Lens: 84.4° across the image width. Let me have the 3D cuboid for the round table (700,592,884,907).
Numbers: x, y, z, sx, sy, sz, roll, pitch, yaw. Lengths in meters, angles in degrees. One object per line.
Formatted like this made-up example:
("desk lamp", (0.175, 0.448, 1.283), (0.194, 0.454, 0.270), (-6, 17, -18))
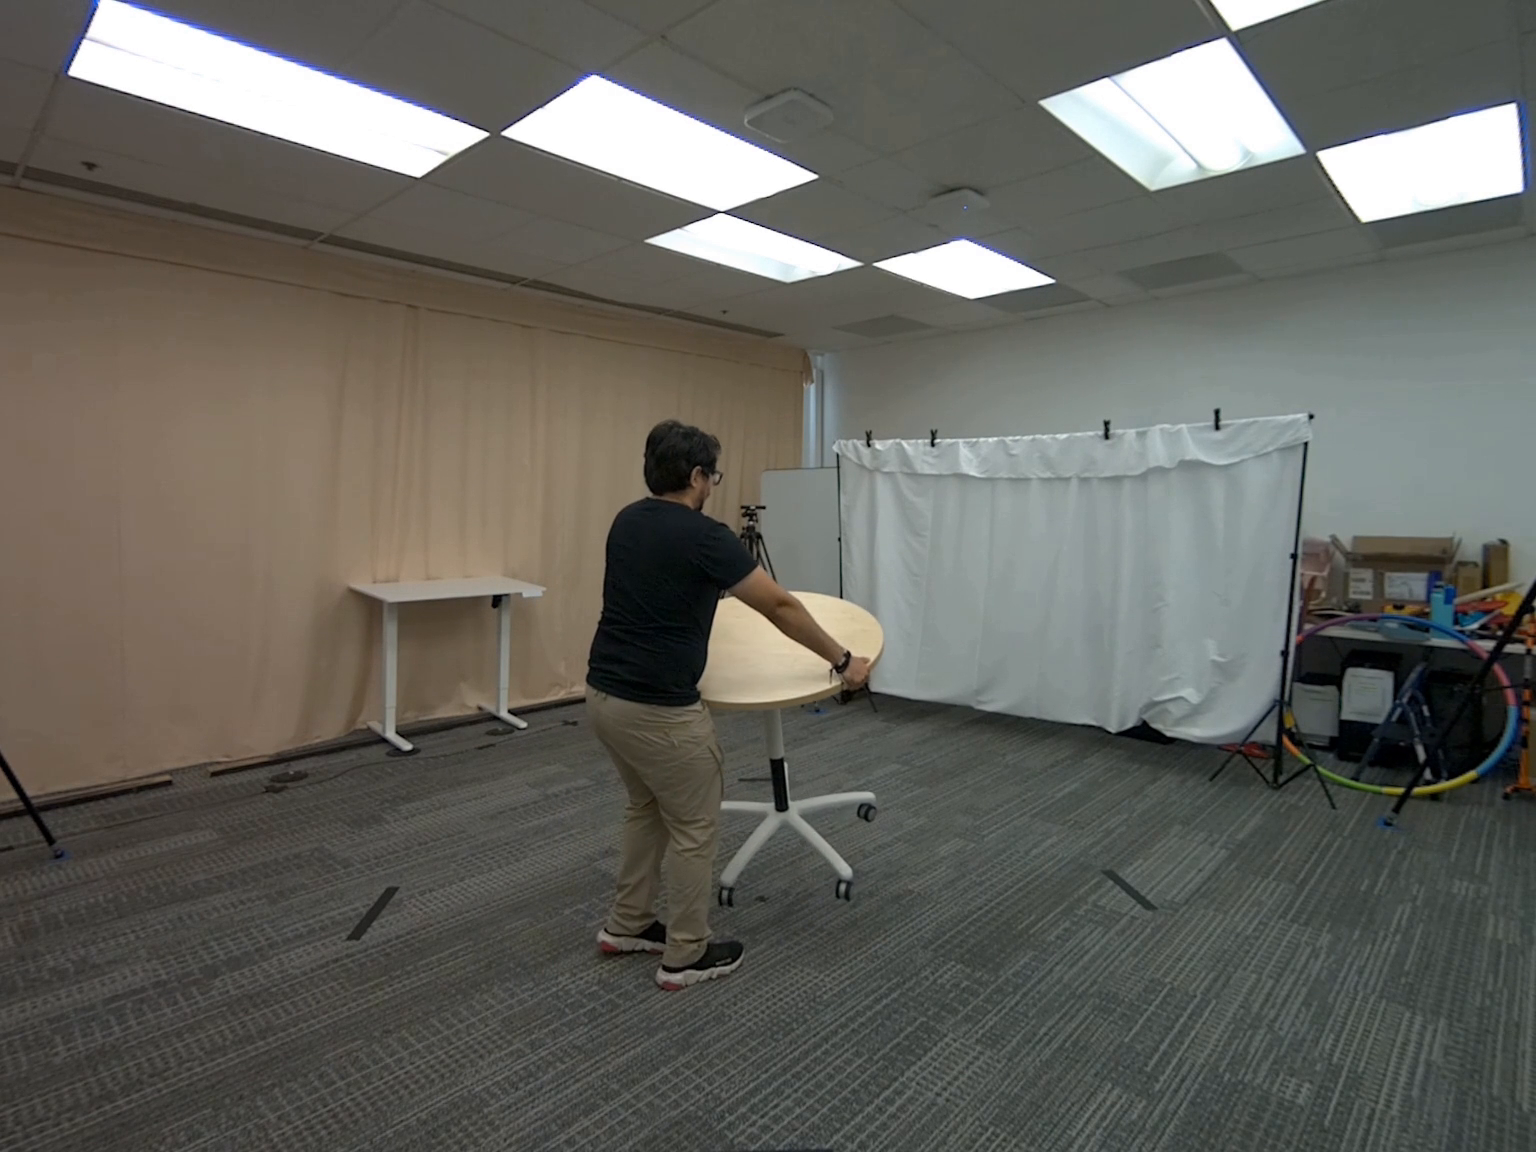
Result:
("round table", (0.020, 0.575, 2.884), (0.786, 0.775, 0.795), (-6, 21, 0))
